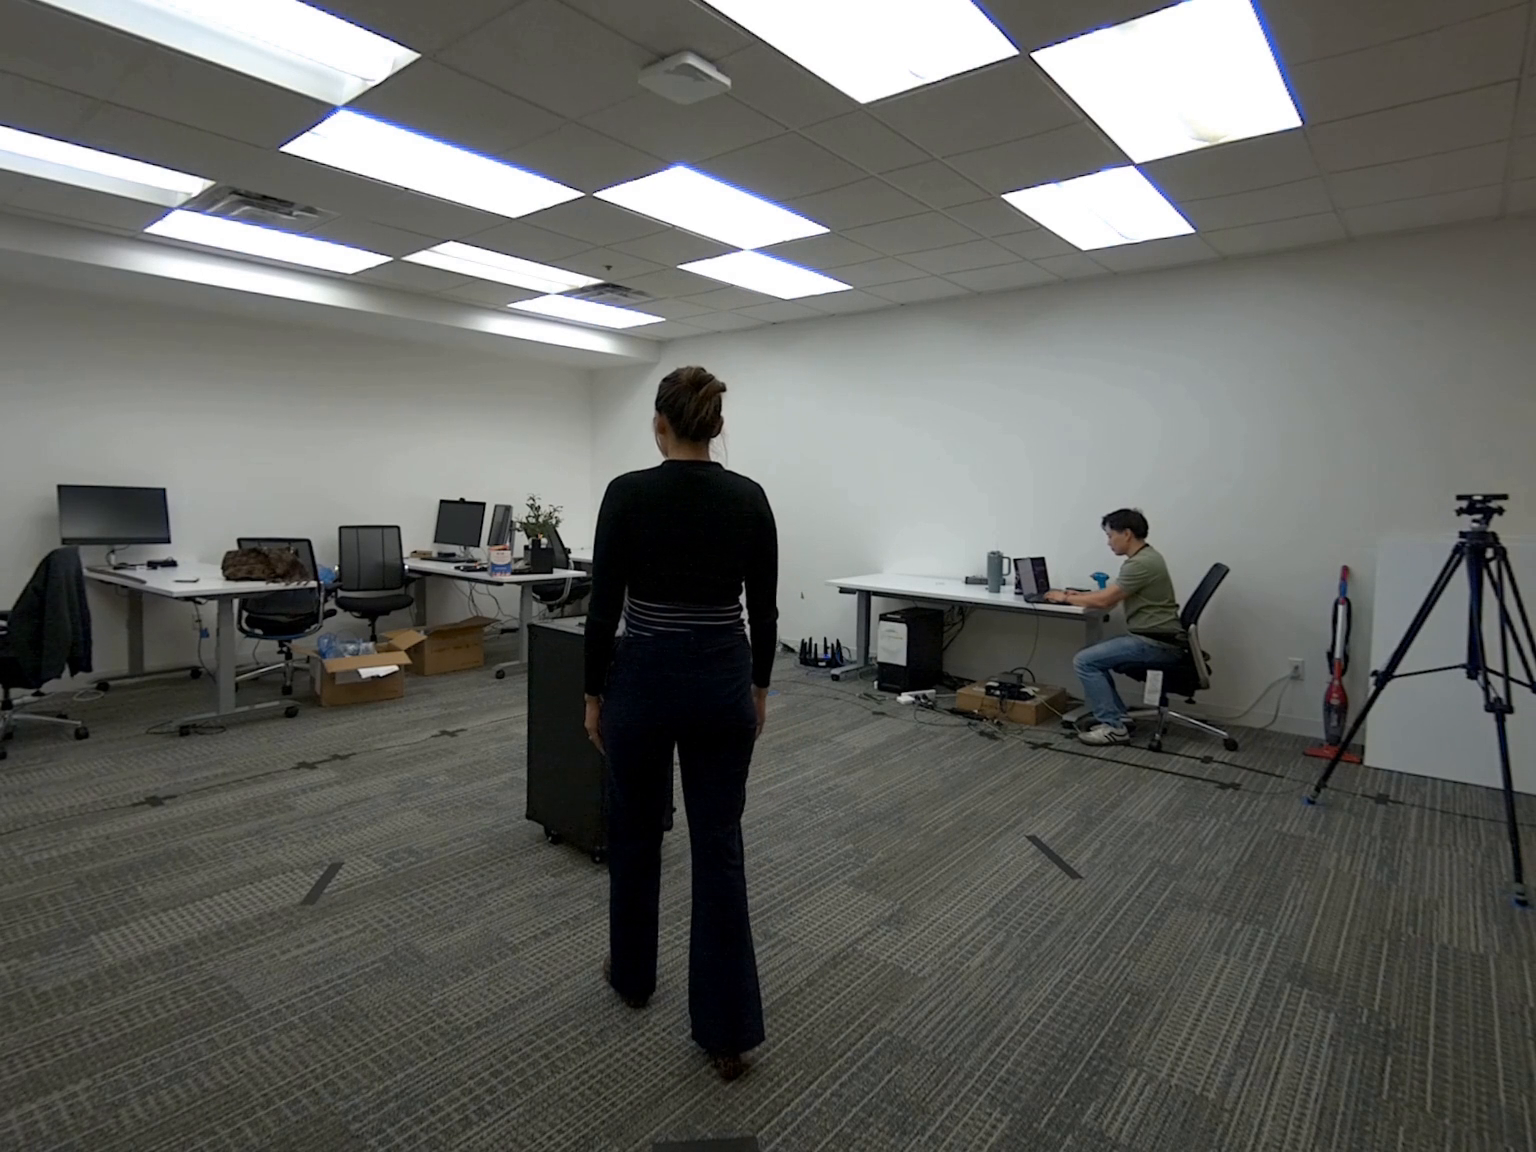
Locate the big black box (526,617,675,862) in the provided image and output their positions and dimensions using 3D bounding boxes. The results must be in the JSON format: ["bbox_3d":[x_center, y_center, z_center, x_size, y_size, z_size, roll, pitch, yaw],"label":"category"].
[{"bbox_3d":[-0.667,0.616,3.326,0.539,0.860,0.384,4,3,42],"label":"big black box"}]
